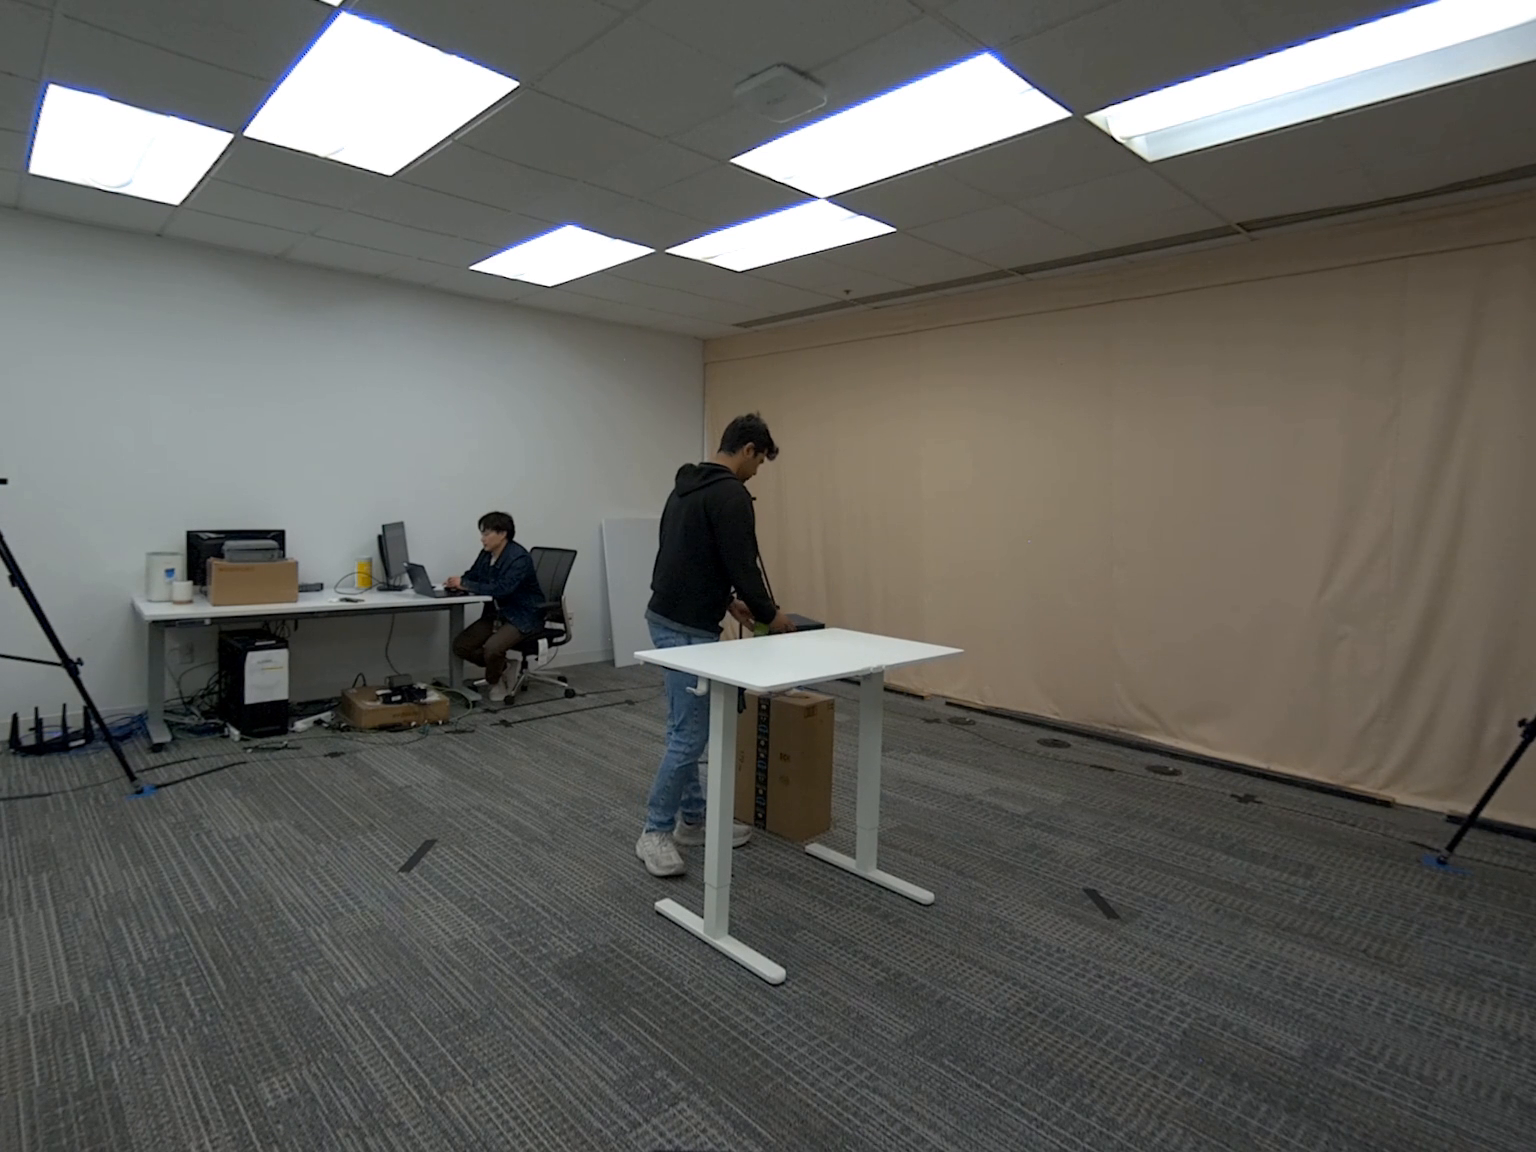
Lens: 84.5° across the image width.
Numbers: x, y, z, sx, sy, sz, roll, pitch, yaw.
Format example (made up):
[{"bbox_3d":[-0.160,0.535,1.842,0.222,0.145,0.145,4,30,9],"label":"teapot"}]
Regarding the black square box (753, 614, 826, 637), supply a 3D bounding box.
[{"bbox_3d":[0.093,0.259,3.569,0.212,0.155,0.234,-1,9,-31],"label":"black square box"}]
